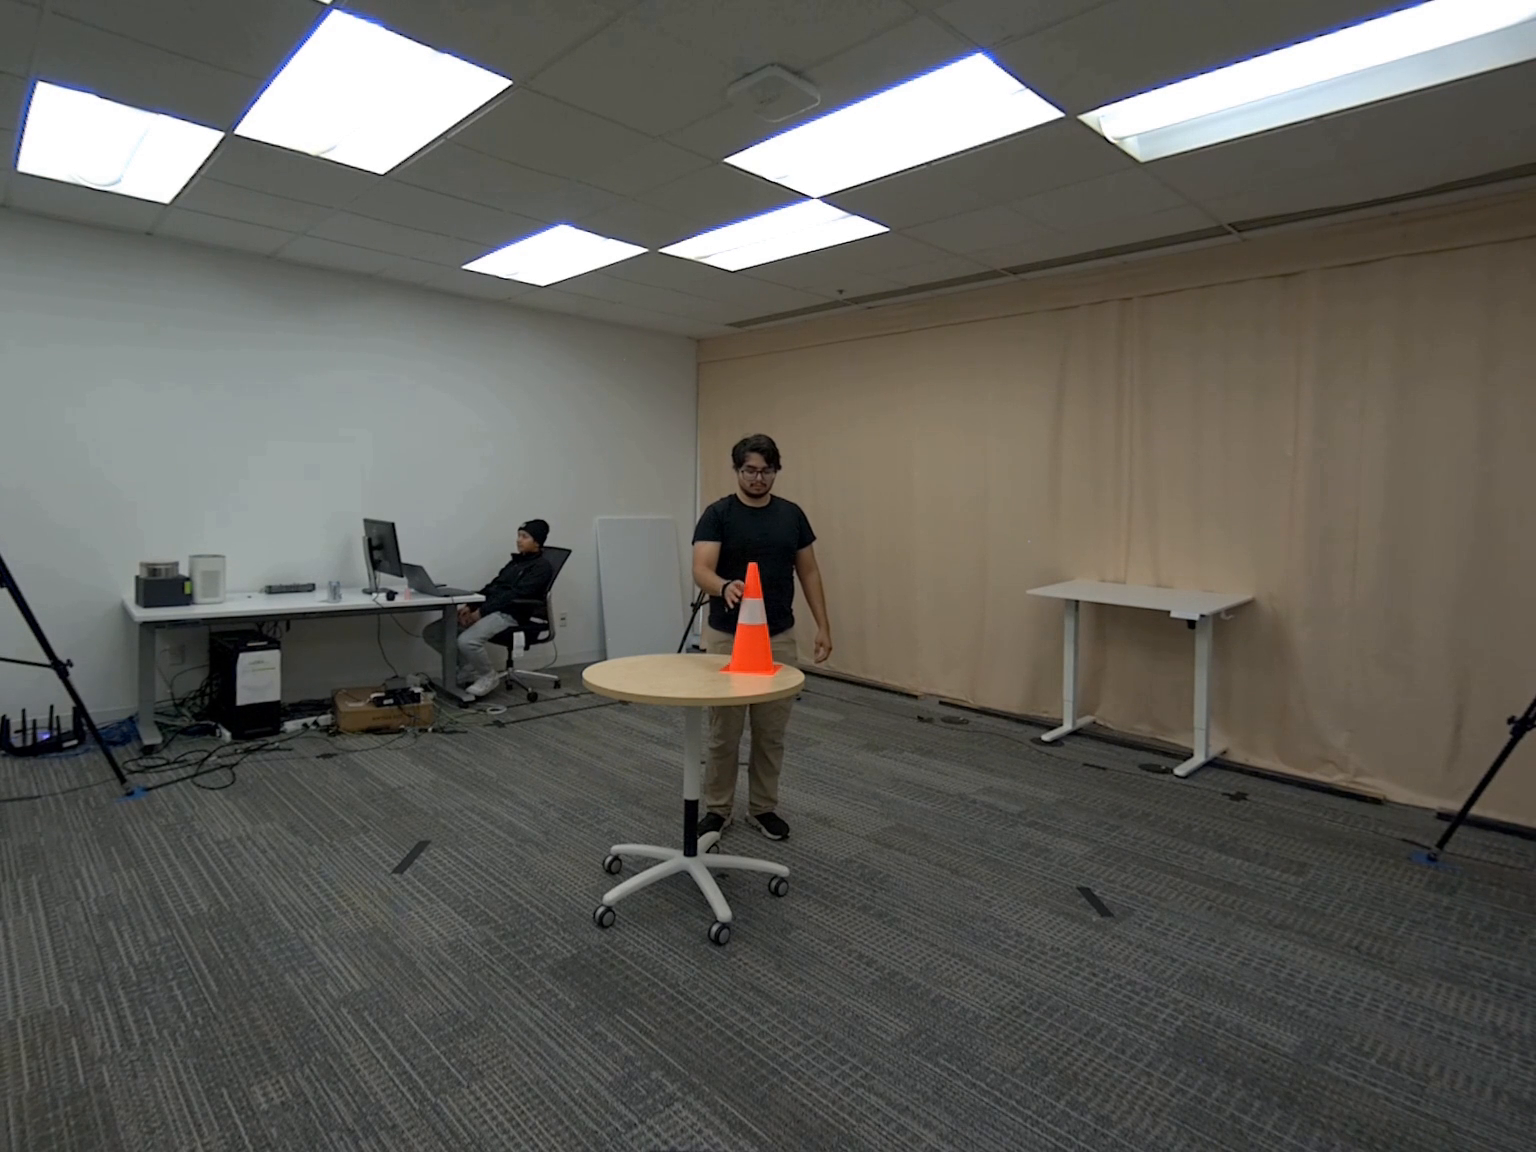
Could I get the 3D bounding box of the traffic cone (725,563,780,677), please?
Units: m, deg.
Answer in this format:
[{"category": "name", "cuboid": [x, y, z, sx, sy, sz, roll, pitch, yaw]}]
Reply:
[{"category": "traffic cone", "cuboid": [-0.060, 0.146, 3.015, 0.203, 0.383, 0.206, 6, 4, -3]}]
